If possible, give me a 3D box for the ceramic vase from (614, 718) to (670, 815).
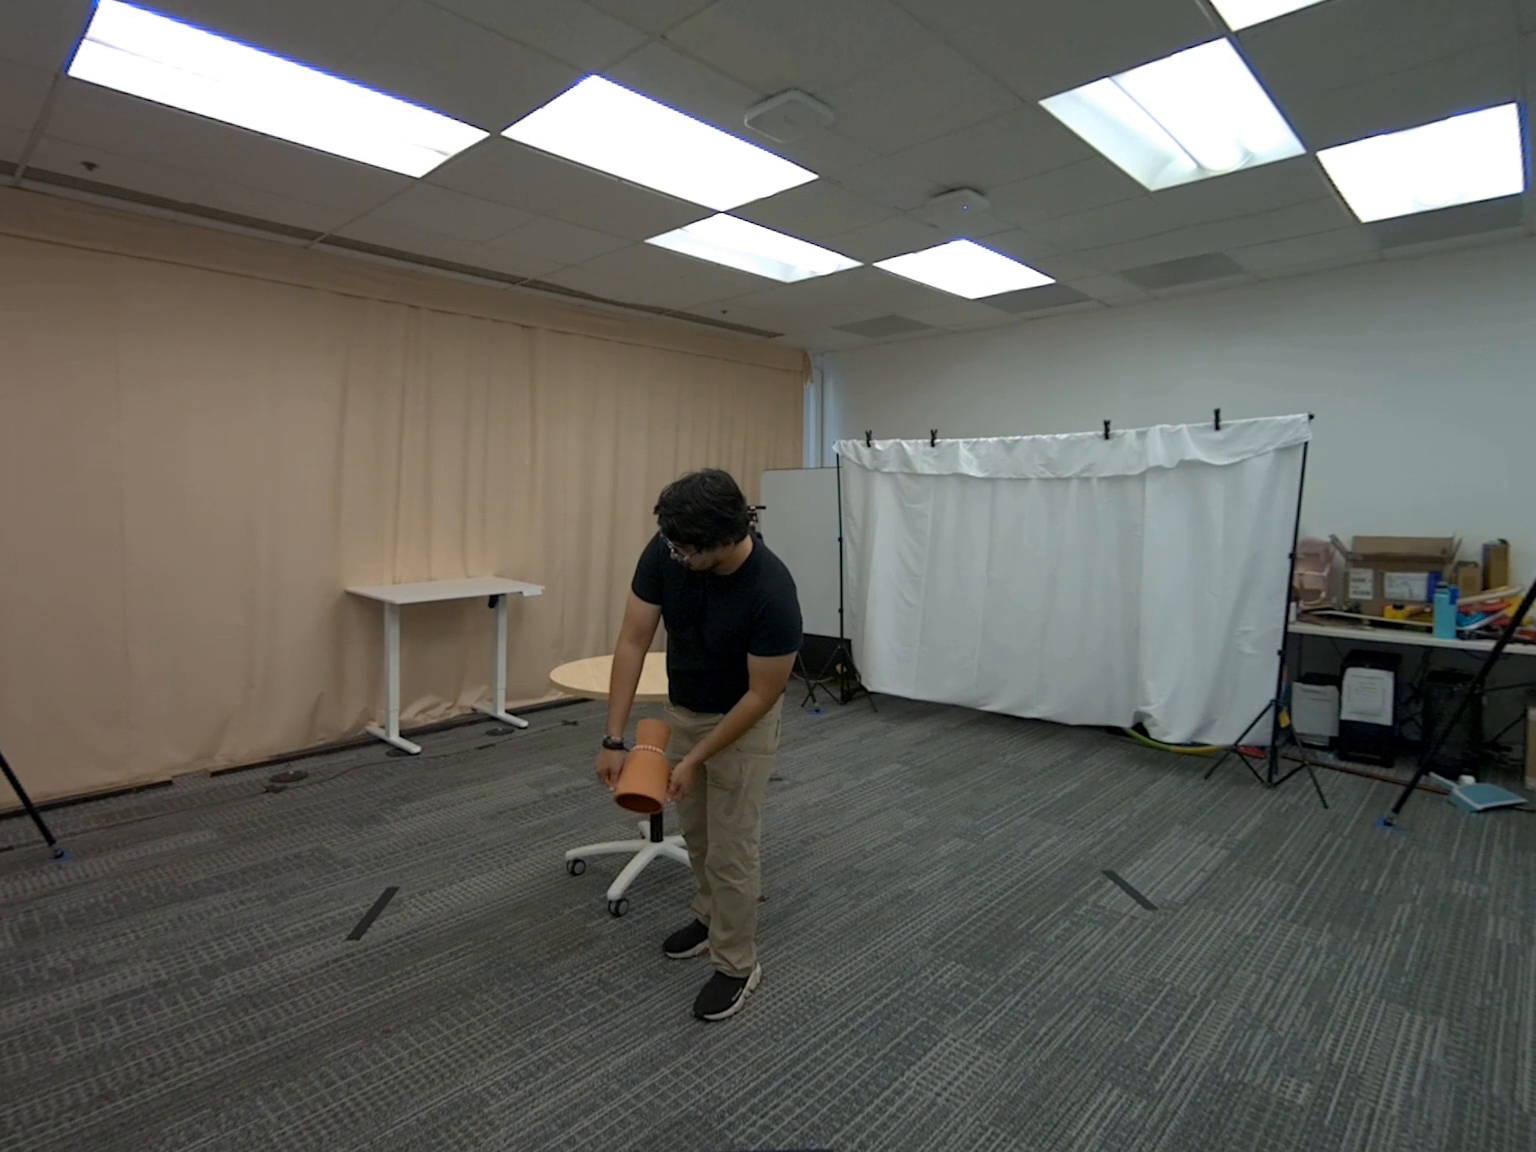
[{"bbox_3d":[-0.321,0.500,2.240,0.137,0.222,0.154,-24,-50,34],"label":"ceramic vase"}]
